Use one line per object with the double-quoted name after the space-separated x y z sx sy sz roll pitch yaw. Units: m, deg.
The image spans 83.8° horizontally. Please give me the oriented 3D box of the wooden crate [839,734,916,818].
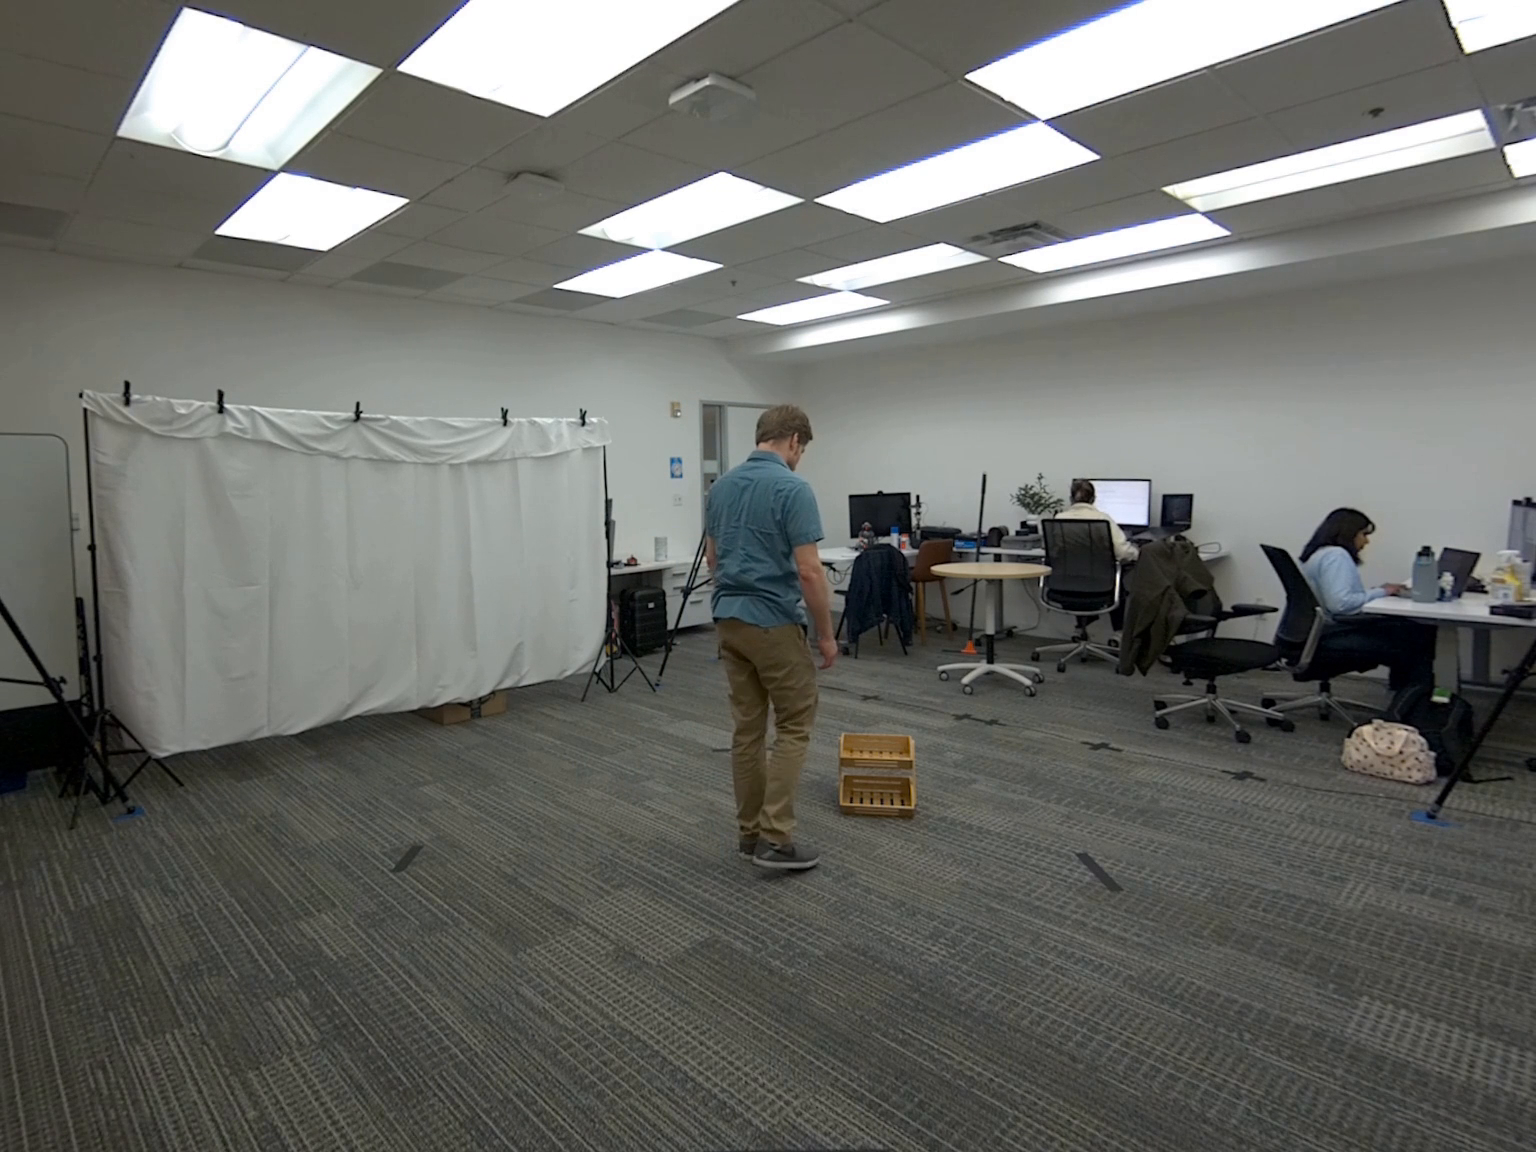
0.466 0.842 3.648 0.327 0.272 0.300 0 5 8 "wooden crate"
